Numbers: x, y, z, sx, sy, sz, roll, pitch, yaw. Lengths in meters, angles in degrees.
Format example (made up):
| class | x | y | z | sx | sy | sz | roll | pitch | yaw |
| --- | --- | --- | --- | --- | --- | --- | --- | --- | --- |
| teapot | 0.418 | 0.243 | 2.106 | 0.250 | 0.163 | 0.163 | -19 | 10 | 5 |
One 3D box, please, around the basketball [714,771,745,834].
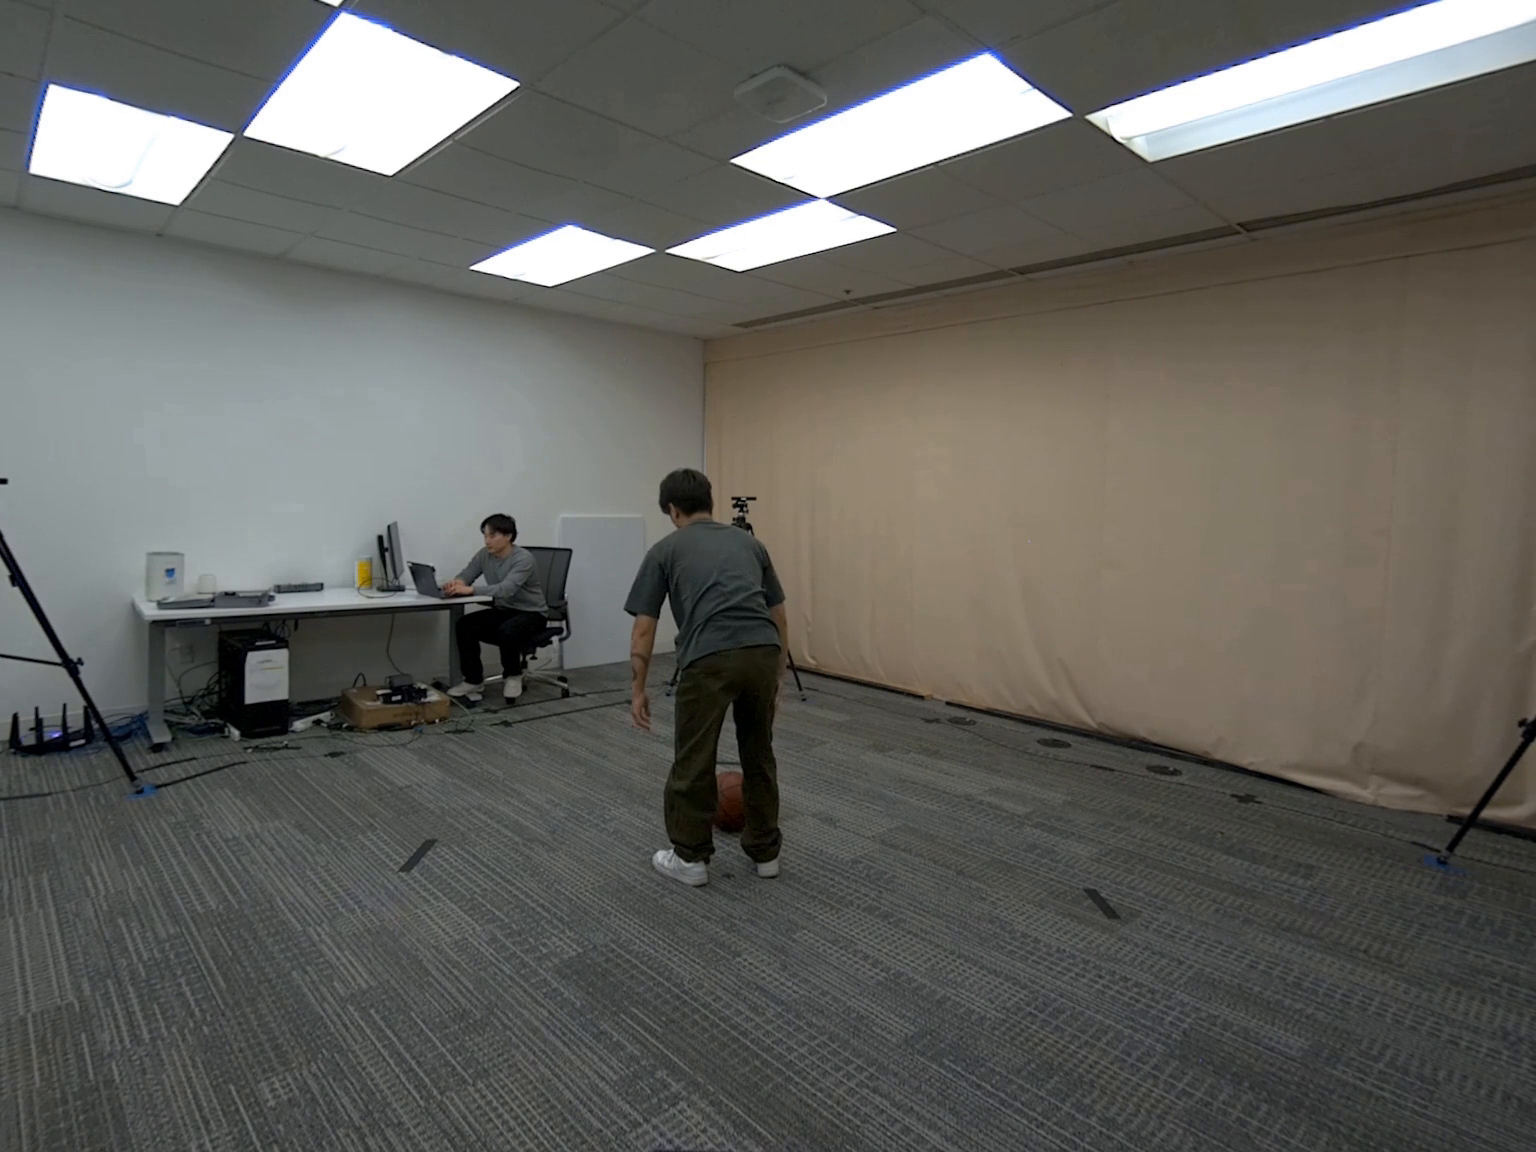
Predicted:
| class | x | y | z | sx | sy | sz | roll | pitch | yaw |
| --- | --- | --- | --- | --- | --- | --- | --- | --- | --- |
| basketball | -0.156 | 0.946 | 3.556 | 0.236 | 0.235 | 0.237 | 1 | 4 | -1 |
